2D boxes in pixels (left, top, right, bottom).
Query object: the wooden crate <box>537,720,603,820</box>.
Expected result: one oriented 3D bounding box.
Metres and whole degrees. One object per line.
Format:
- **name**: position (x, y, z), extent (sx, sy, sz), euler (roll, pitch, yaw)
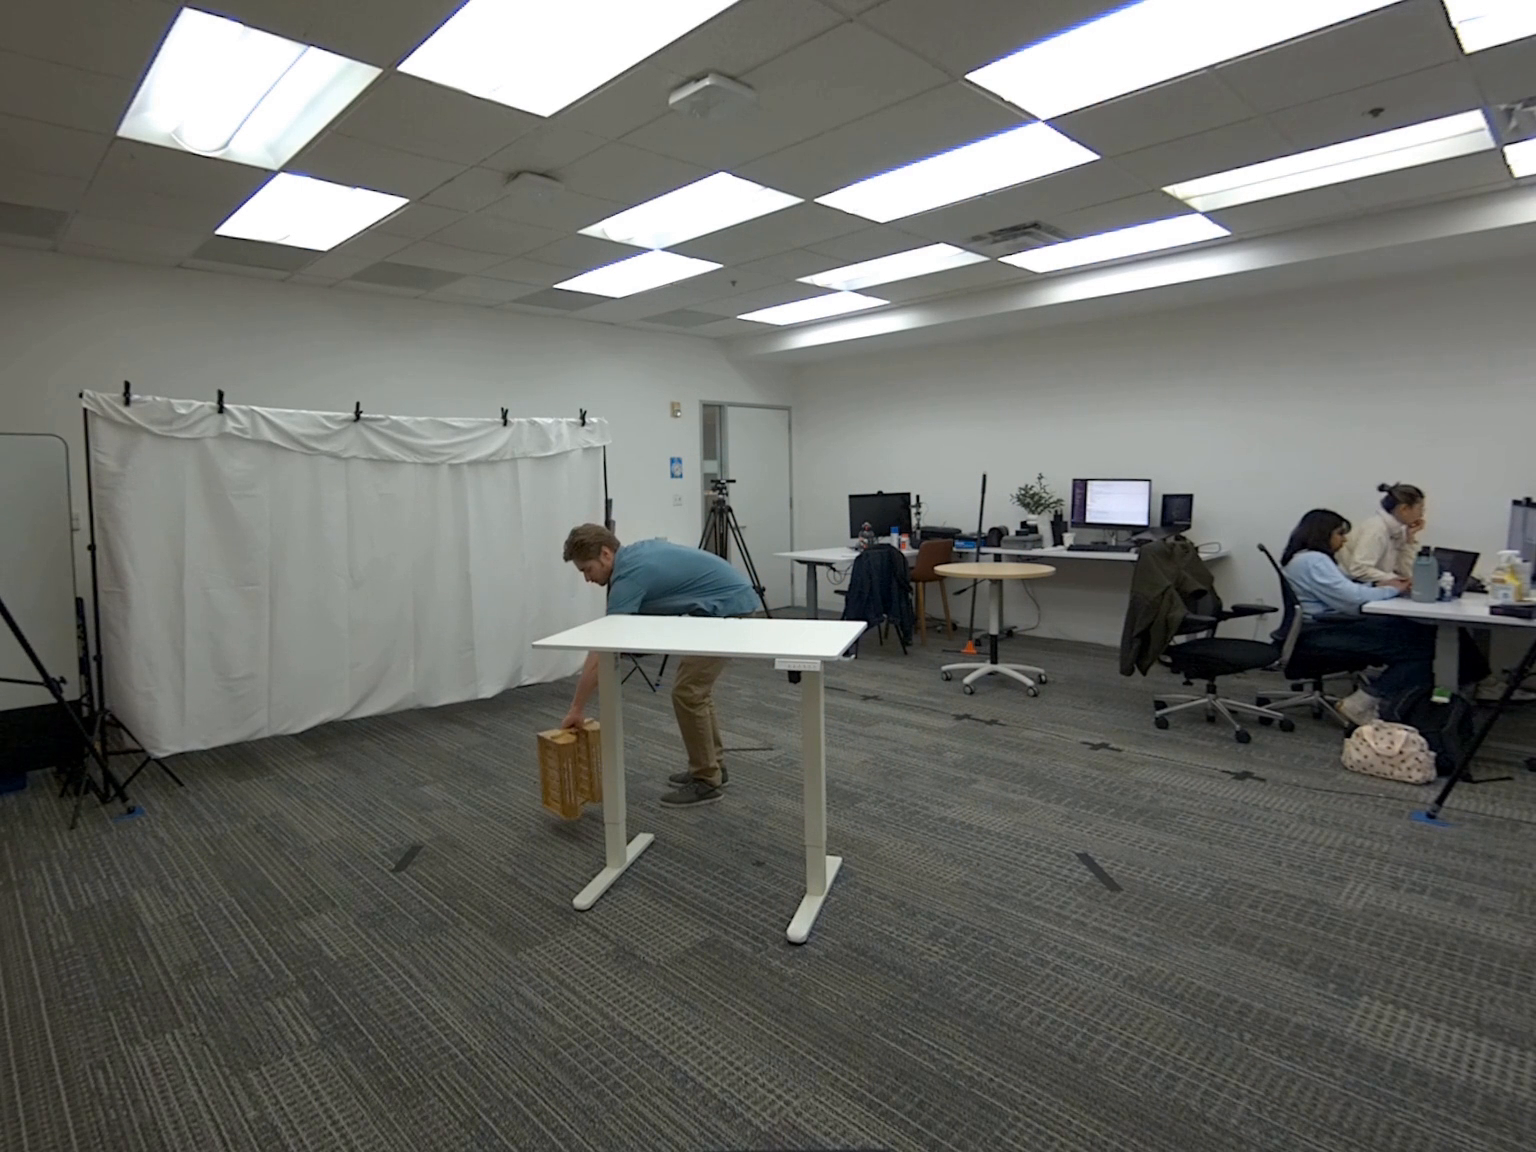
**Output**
- **wooden crate**: position (-0.772, 0.781, 3.497), extent (0.266, 0.323, 0.310), euler (-7, 5, -39)
